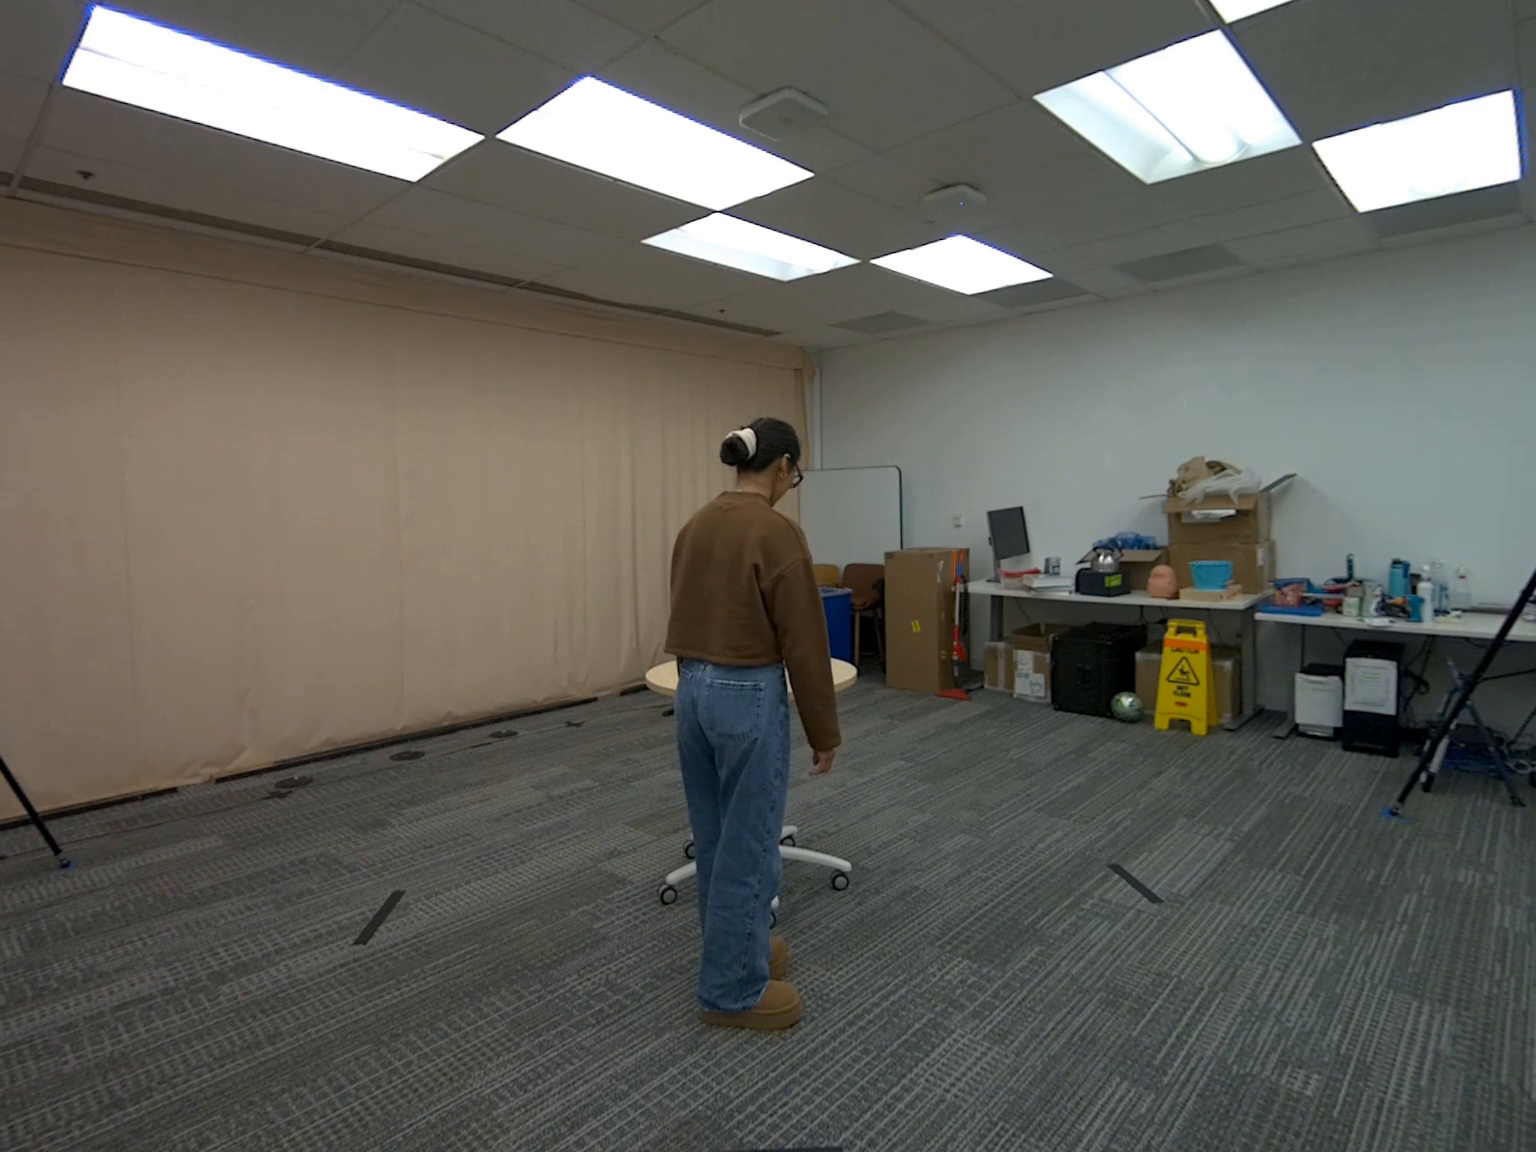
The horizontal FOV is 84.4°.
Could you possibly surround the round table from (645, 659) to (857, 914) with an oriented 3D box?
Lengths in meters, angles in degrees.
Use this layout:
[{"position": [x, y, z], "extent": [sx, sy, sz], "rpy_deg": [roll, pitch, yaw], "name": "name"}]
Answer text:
[{"position": [-0.061, 0.742, 3.087], "extent": [0.763, 0.792, 0.767], "rpy_deg": [-1, 4, -2], "name": "round table"}]
